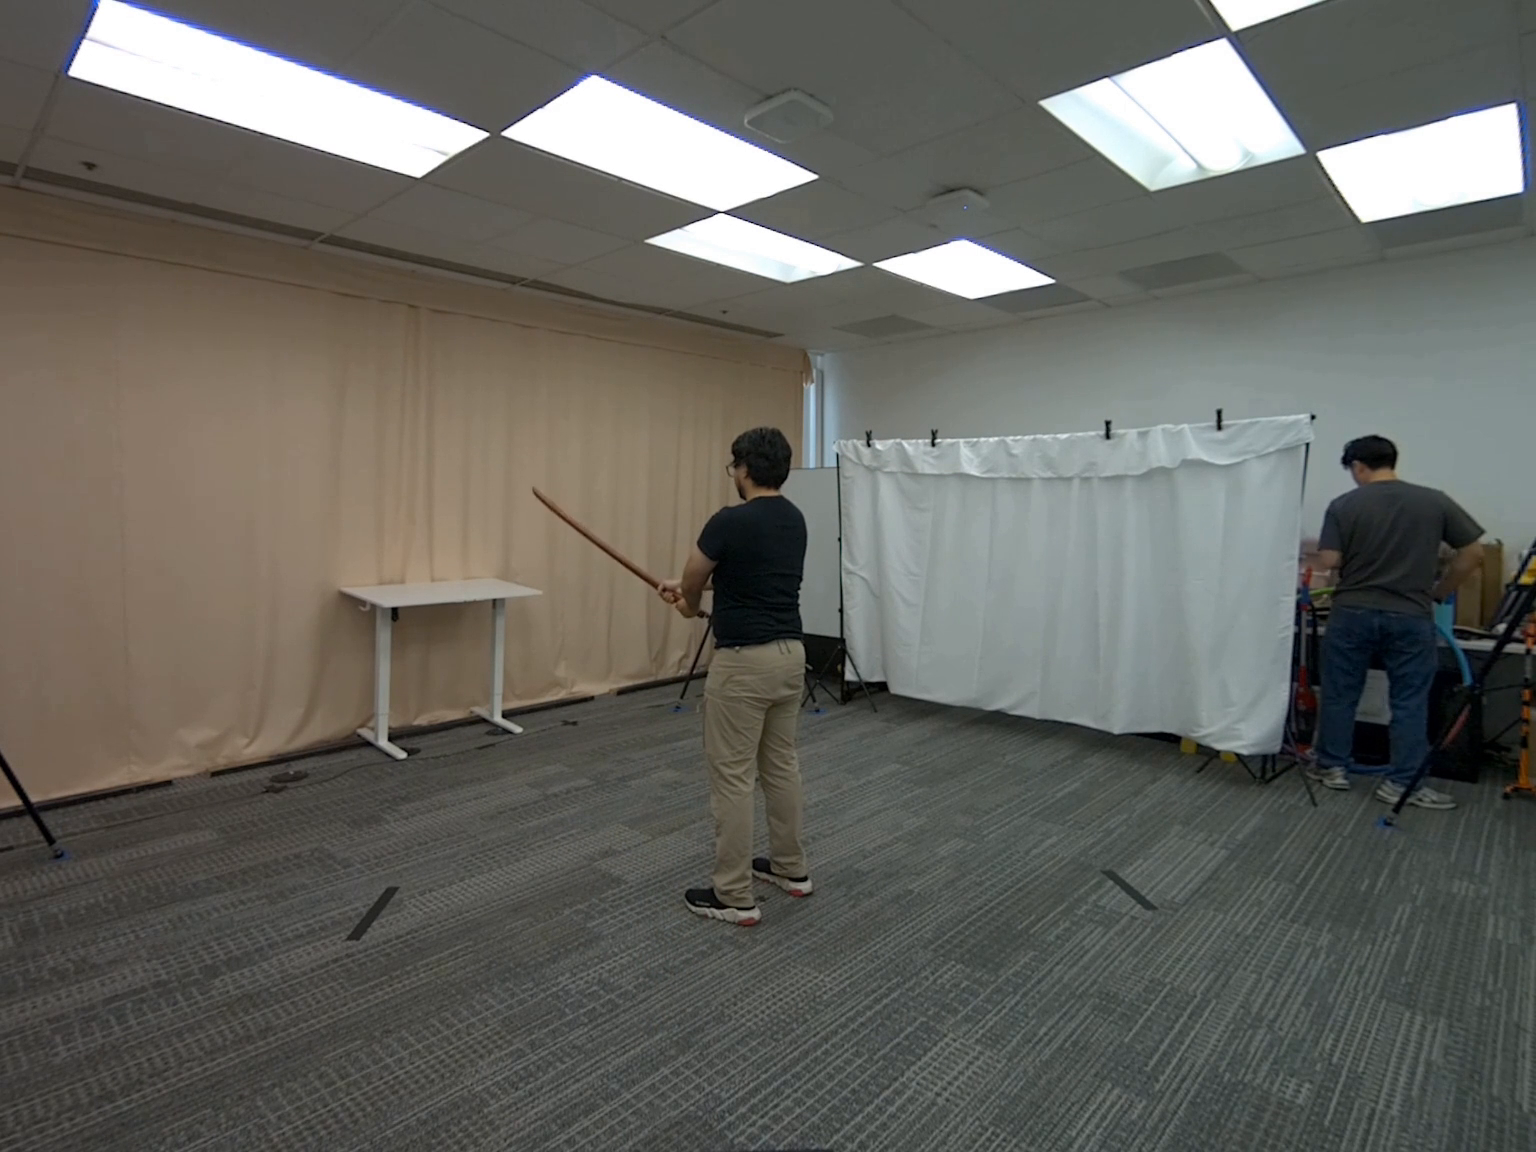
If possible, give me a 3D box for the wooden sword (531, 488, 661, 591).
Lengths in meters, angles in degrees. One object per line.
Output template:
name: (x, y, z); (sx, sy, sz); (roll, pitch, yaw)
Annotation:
wooden sword: (-0.641, -0.108, 3.463); (1.056, 0.051, 0.023); (34, 35, 27)
